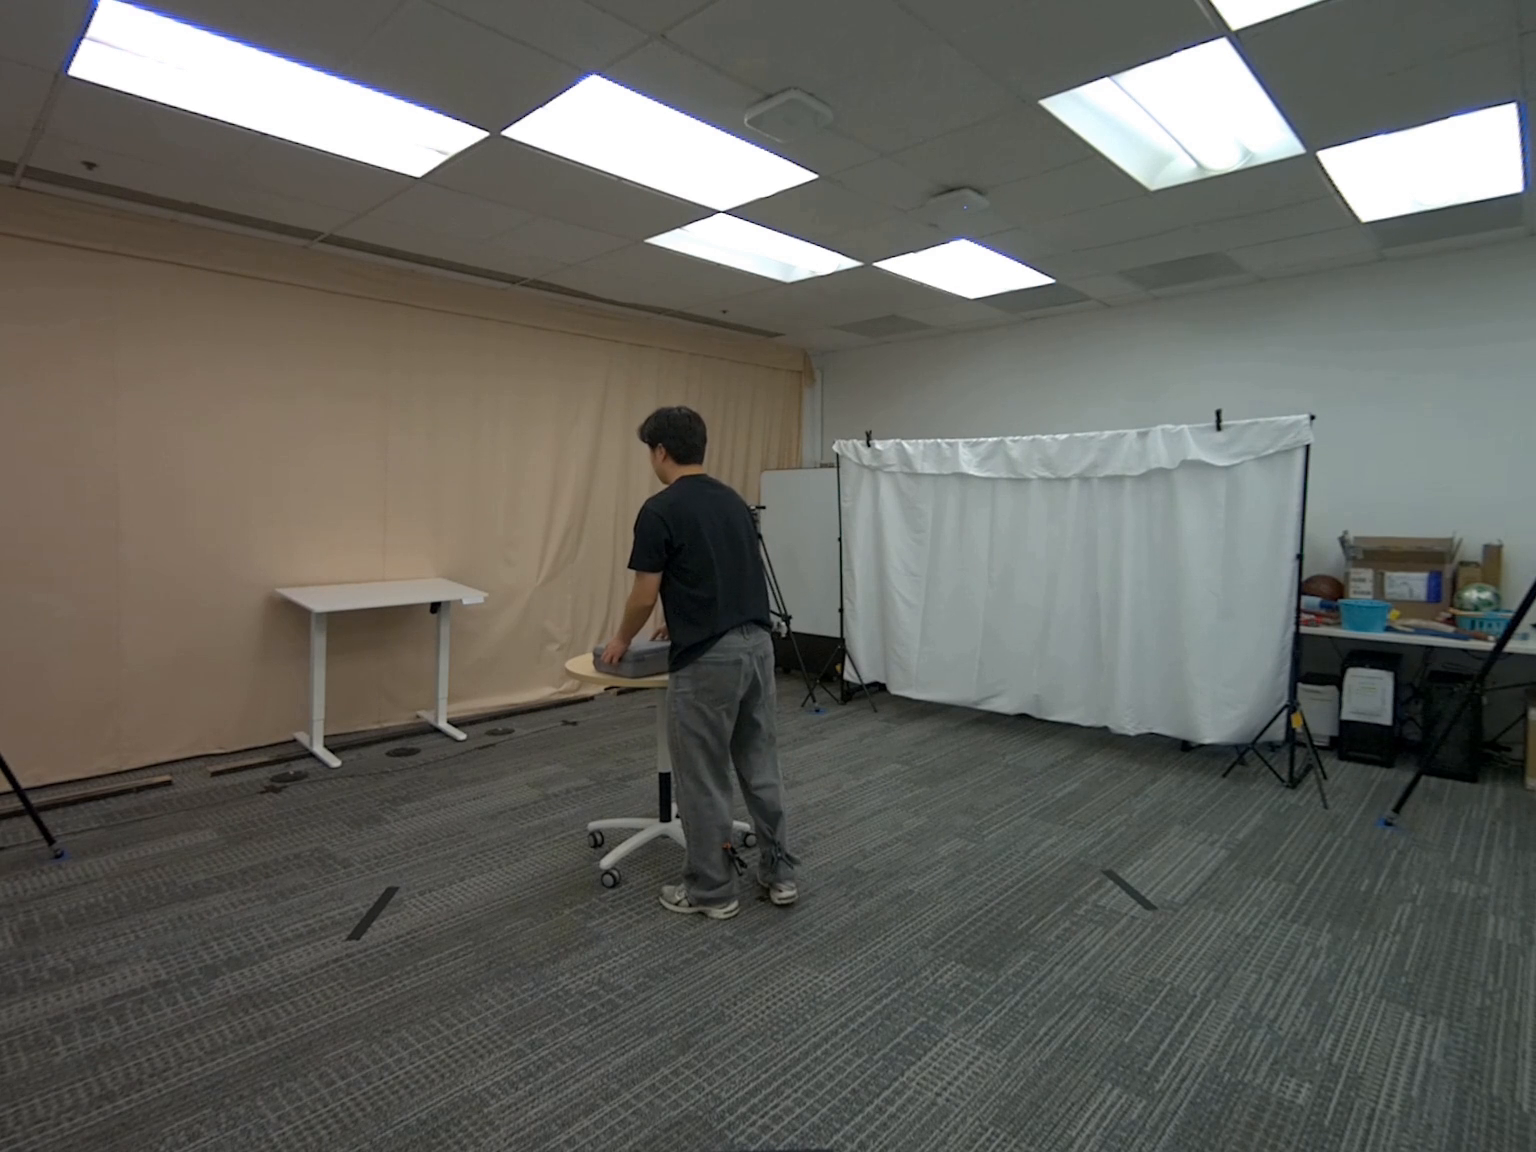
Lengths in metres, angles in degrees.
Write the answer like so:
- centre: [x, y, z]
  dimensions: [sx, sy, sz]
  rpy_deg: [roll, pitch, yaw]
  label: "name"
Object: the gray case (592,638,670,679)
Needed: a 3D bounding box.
- centre: [-0.490, 0.296, 3.126]
  dimensions: [0.296, 0.103, 0.255]
  rpy_deg: [2, 6, 44]
  label: "gray case"
